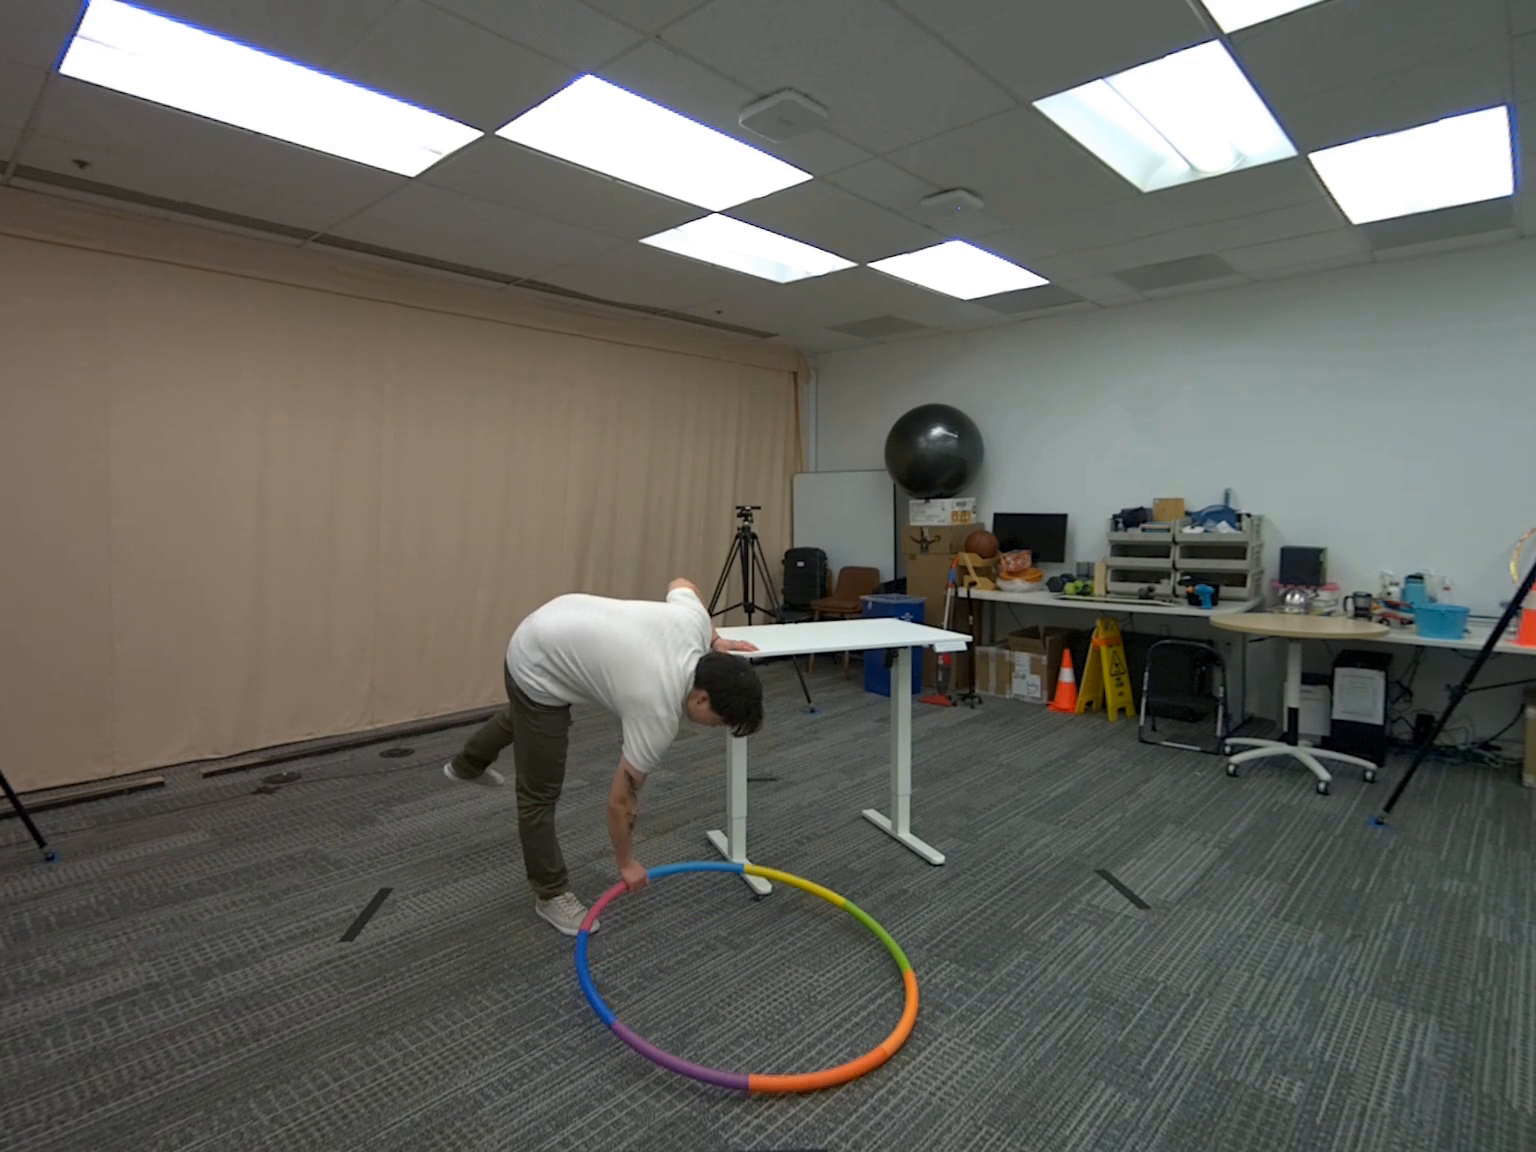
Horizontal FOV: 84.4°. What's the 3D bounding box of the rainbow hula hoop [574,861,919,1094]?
[{"bbox_3d":[-0.053,1.089,2.450,0.977,0.035,0.986,6,10,-3],"label":"rainbow hula hoop"}]
